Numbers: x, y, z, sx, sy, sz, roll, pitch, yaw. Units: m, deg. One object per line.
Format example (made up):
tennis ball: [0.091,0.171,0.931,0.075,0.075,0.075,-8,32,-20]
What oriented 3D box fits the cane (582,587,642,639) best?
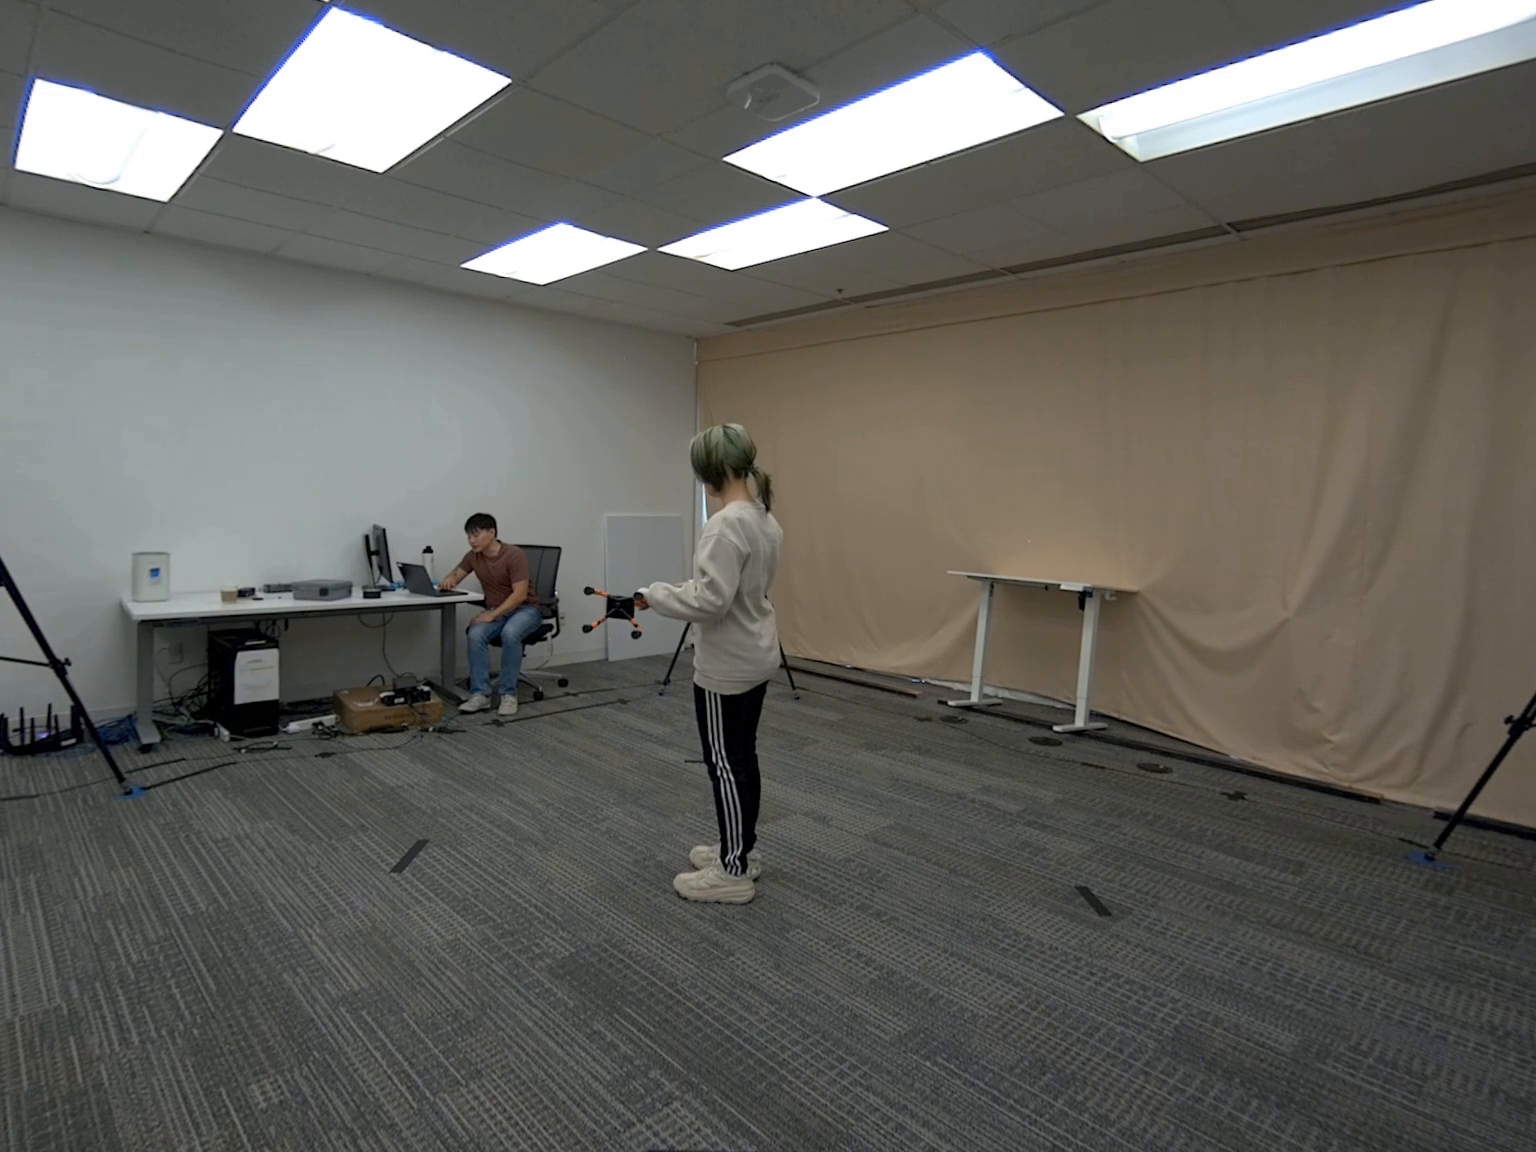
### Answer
cane: [-0.378,0.085,3.116,0.209,0.151,0.897,4,5,17]
